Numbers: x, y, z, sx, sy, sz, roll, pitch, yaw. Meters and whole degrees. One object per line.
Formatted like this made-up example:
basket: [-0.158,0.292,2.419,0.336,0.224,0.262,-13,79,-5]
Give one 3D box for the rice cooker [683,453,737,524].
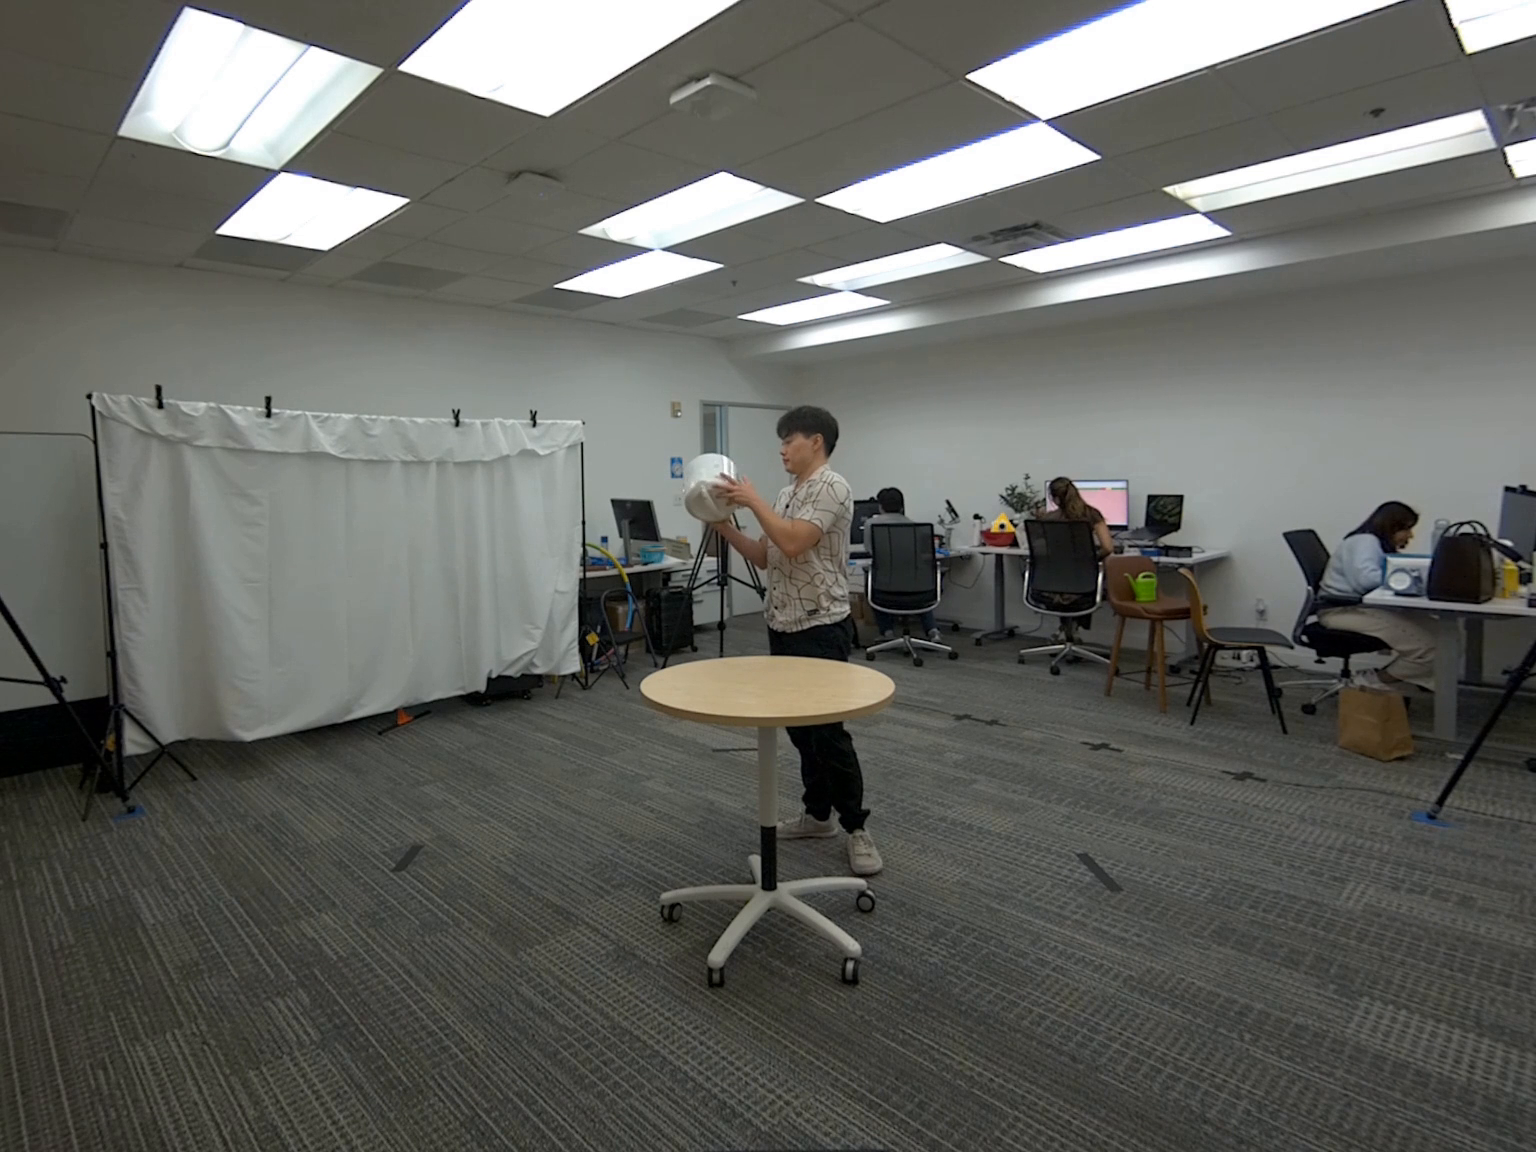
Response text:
rice cooker: [-0.214,-0.334,3.276,0.219,0.213,0.239,-18,39,11]
